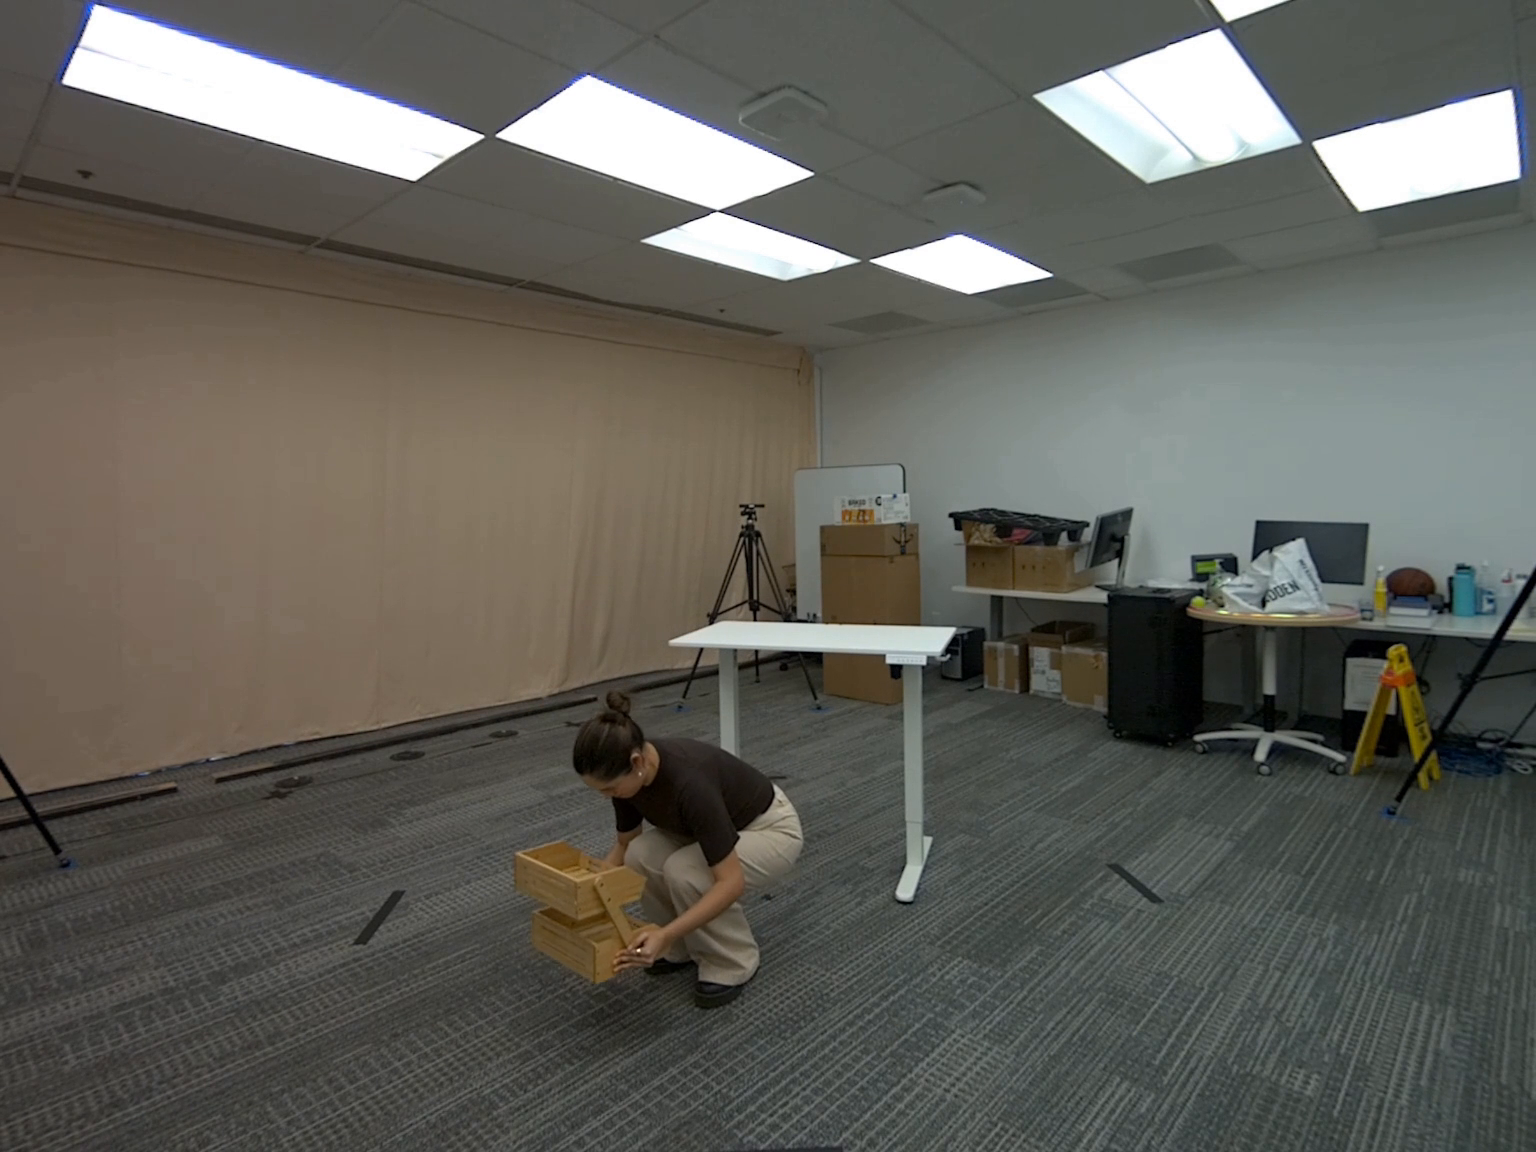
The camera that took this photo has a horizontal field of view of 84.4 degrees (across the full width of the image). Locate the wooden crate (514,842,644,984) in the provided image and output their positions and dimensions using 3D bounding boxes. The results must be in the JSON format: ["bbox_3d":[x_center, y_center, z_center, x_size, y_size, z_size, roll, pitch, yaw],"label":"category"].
[{"bbox_3d":[-0.458,0.856,2.226,0.292,0.273,0.335,0,-2,-45],"label":"wooden crate"}]
